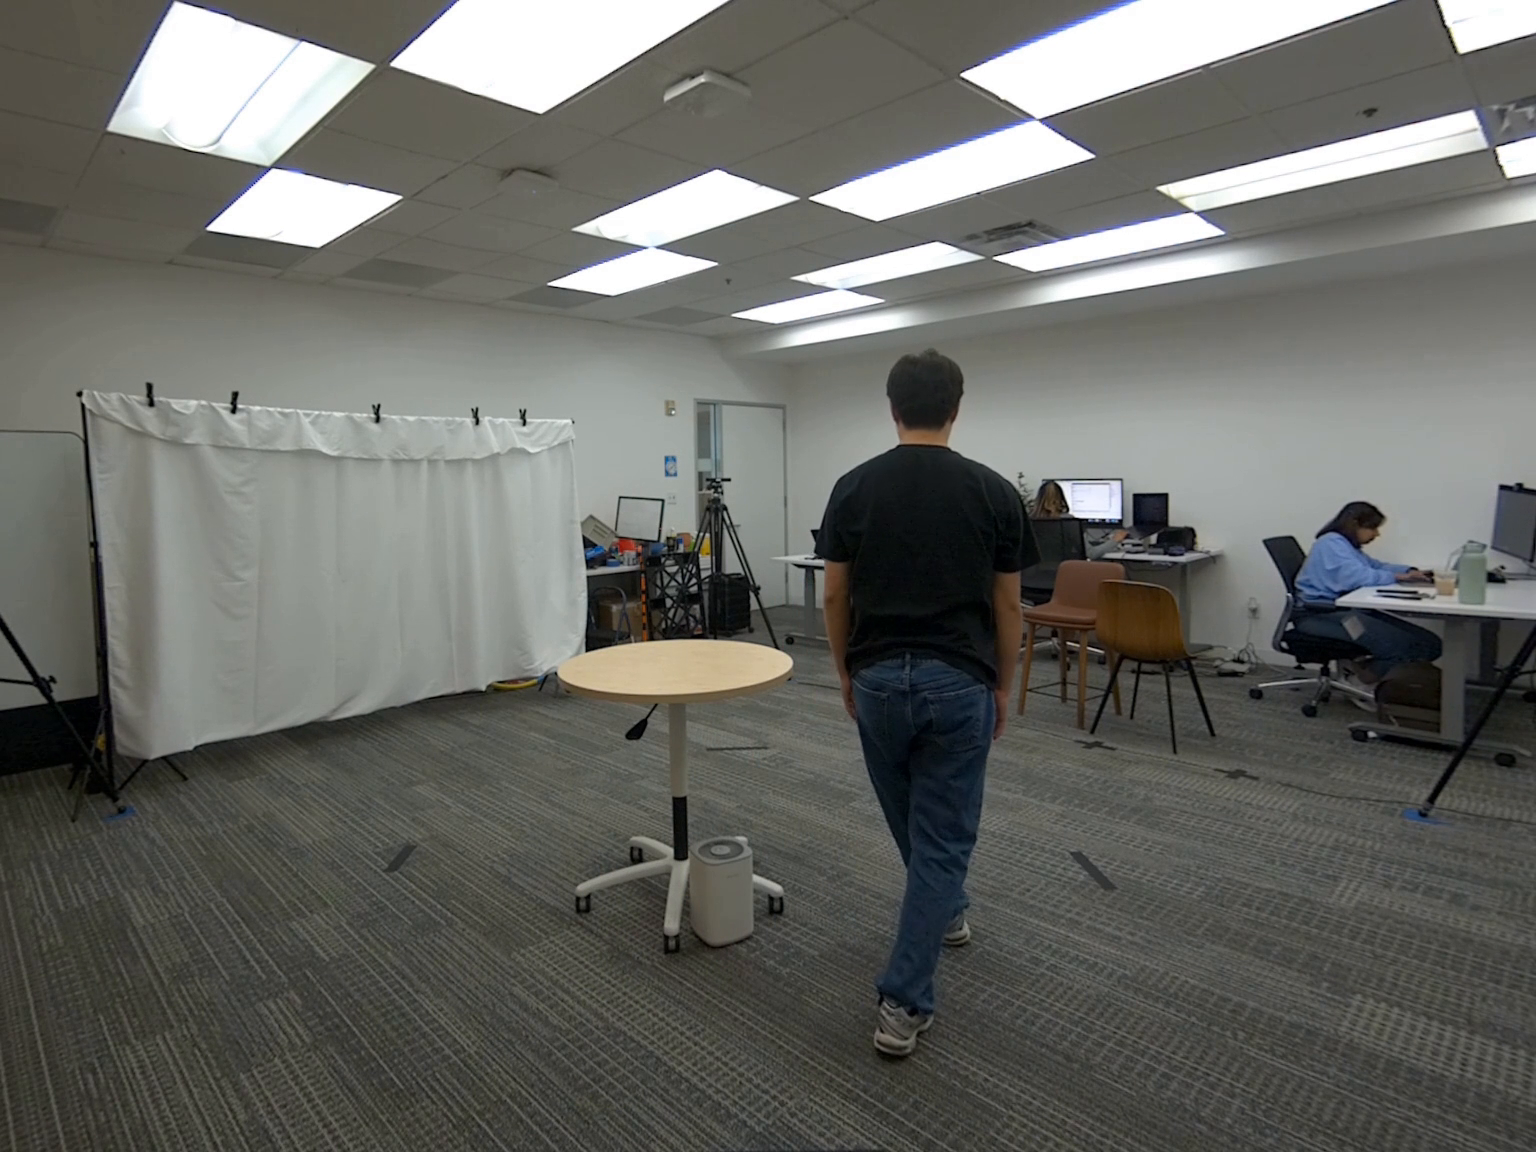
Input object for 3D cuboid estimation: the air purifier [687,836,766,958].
[{"bbox_3d":[-0.128,0.971,2.618,0.167,0.265,0.176,-2,2,-32],"label":"air purifier"}]
